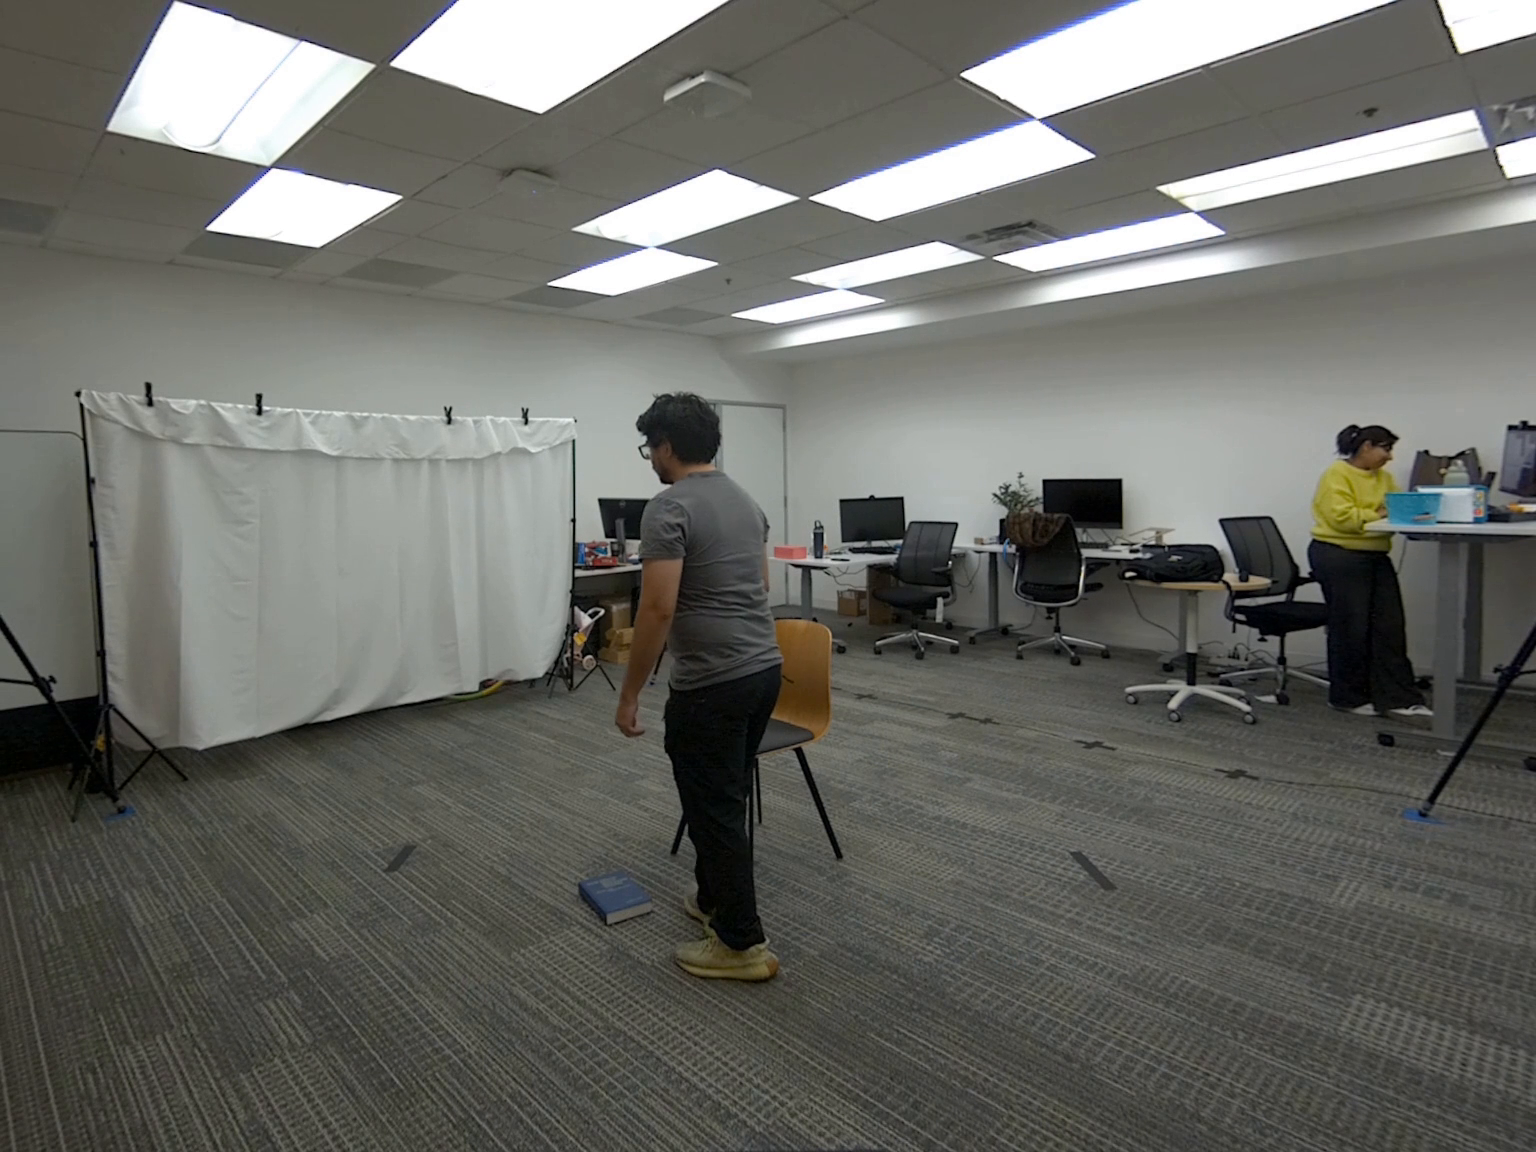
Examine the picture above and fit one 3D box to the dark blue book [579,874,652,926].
[{"bbox_3d":[-0.500,1.058,2.823,0.159,0.045,0.252,-6,8,-32],"label":"dark blue book"}]
